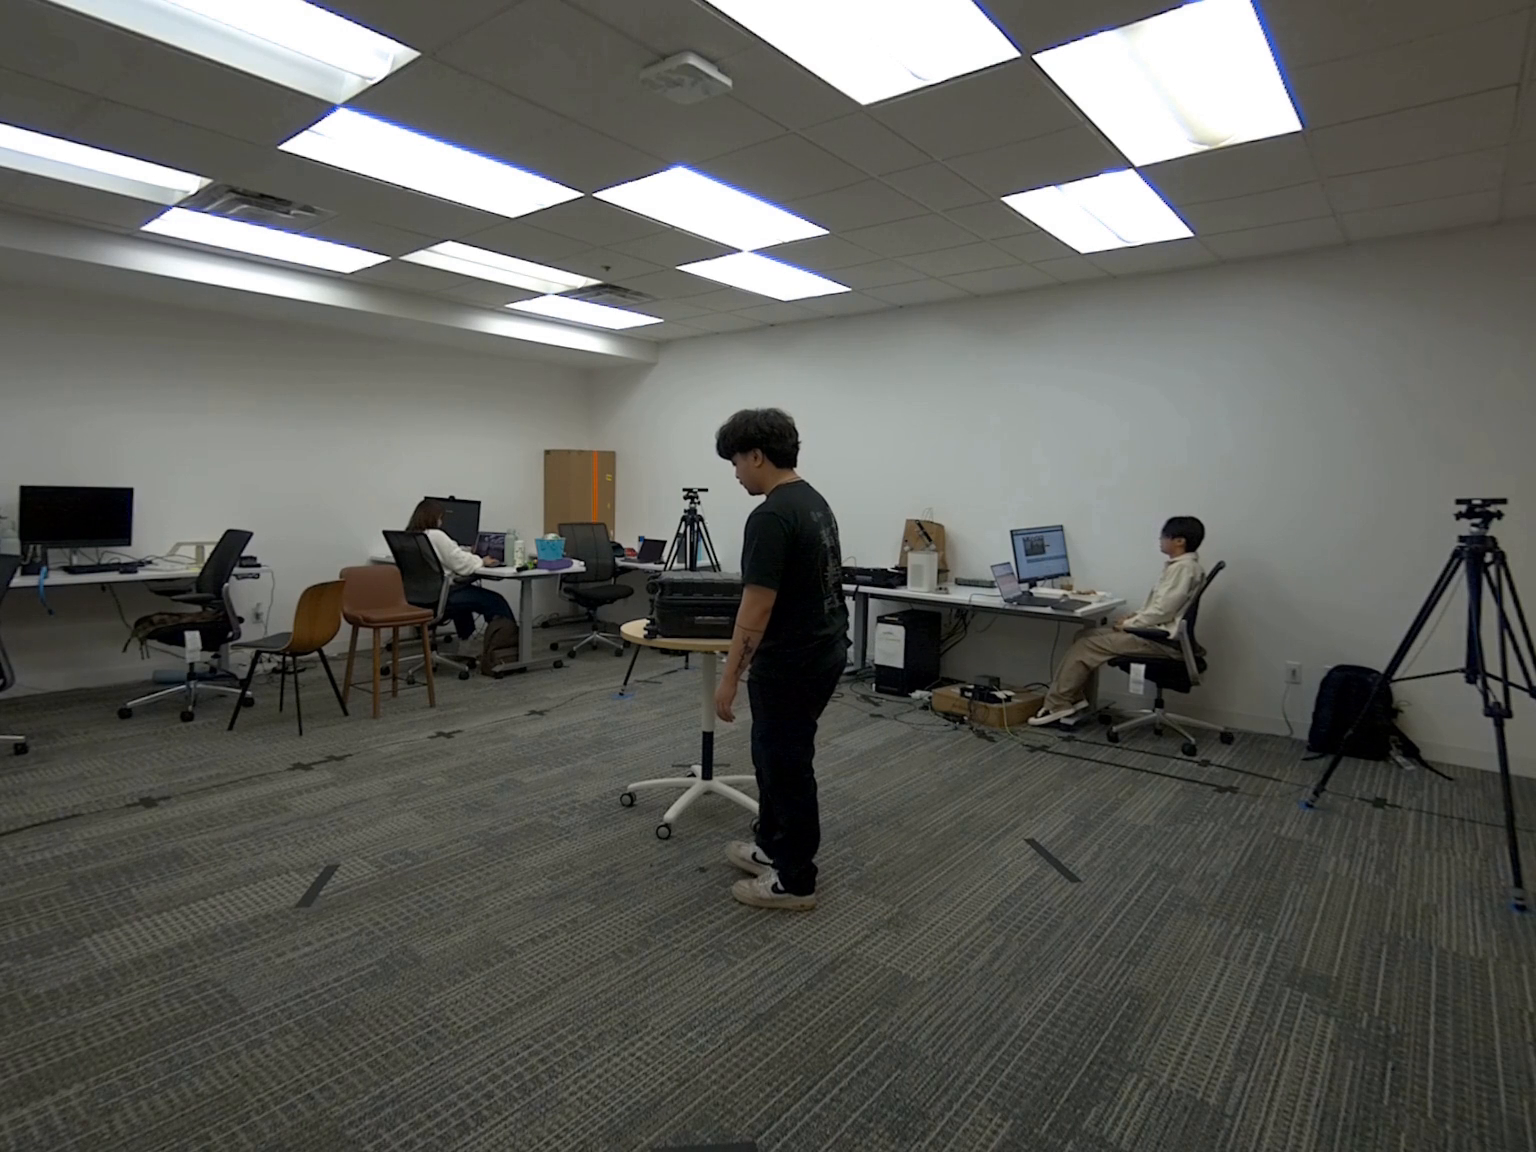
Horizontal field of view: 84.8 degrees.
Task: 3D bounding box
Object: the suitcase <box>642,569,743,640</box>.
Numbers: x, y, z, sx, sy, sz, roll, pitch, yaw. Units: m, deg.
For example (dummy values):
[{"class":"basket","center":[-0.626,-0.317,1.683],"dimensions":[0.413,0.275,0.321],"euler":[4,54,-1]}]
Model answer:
[{"class":"suitcase","center":[-0.242,0.114,3.540],"dimensions":[0.547,0.248,0.377],"euler":[2,2,-4]}]
